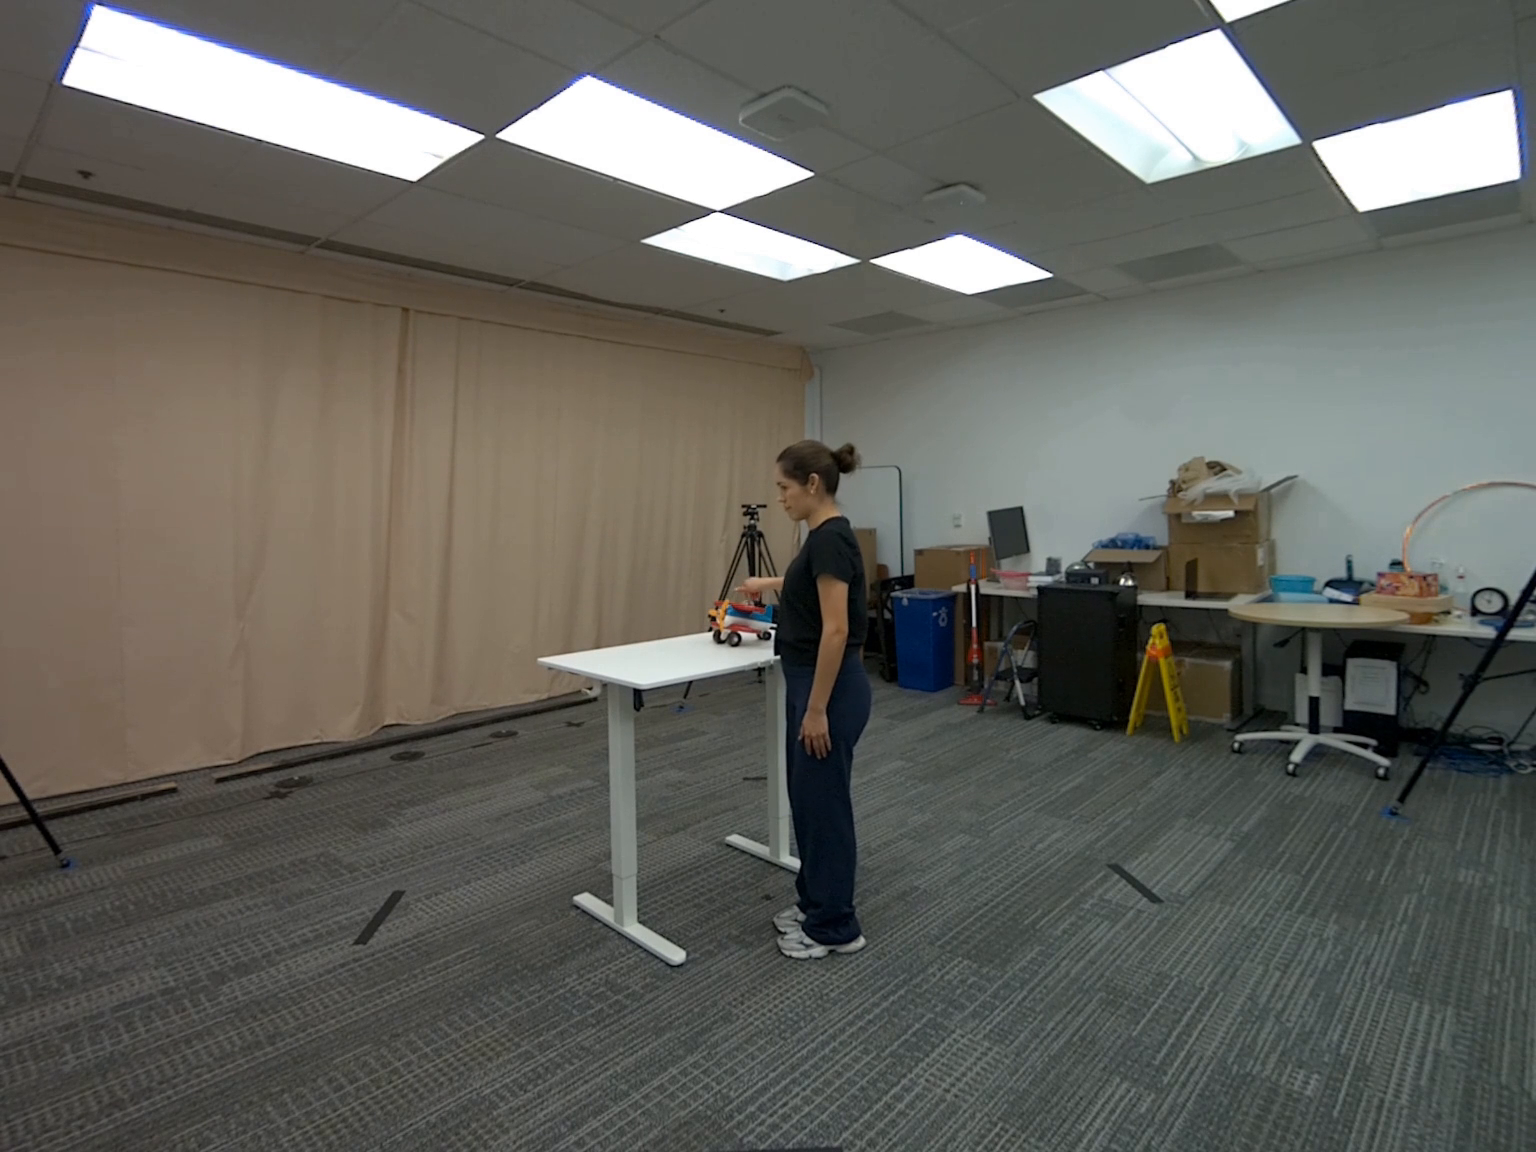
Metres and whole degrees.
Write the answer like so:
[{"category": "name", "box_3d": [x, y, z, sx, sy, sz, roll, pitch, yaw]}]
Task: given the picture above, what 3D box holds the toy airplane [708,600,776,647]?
[{"category": "toy airplane", "box_3d": [-0.083, 0.169, 3.141, 0.257, 0.156, 0.254, 1, 6, 22]}]
